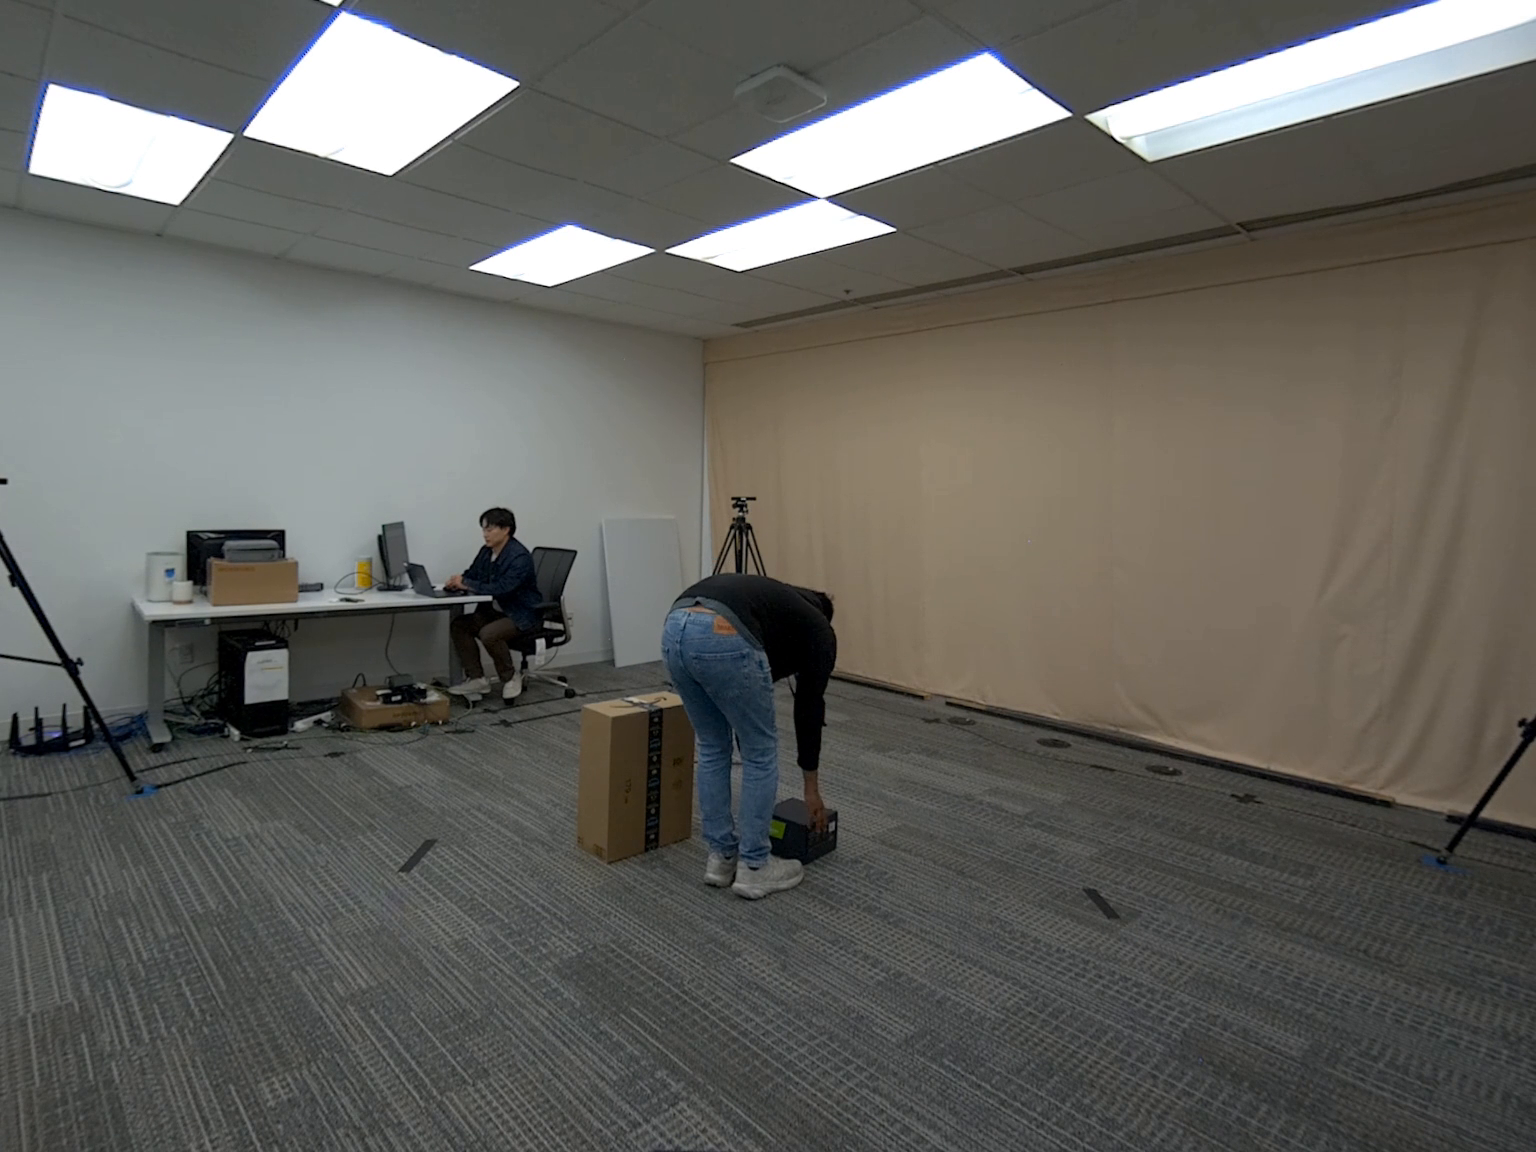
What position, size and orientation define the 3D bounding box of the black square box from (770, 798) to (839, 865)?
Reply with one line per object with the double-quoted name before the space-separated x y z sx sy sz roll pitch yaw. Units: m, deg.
"black square box" 0.115 1.006 3.353 0.233 0.155 0.212 5 6 41
